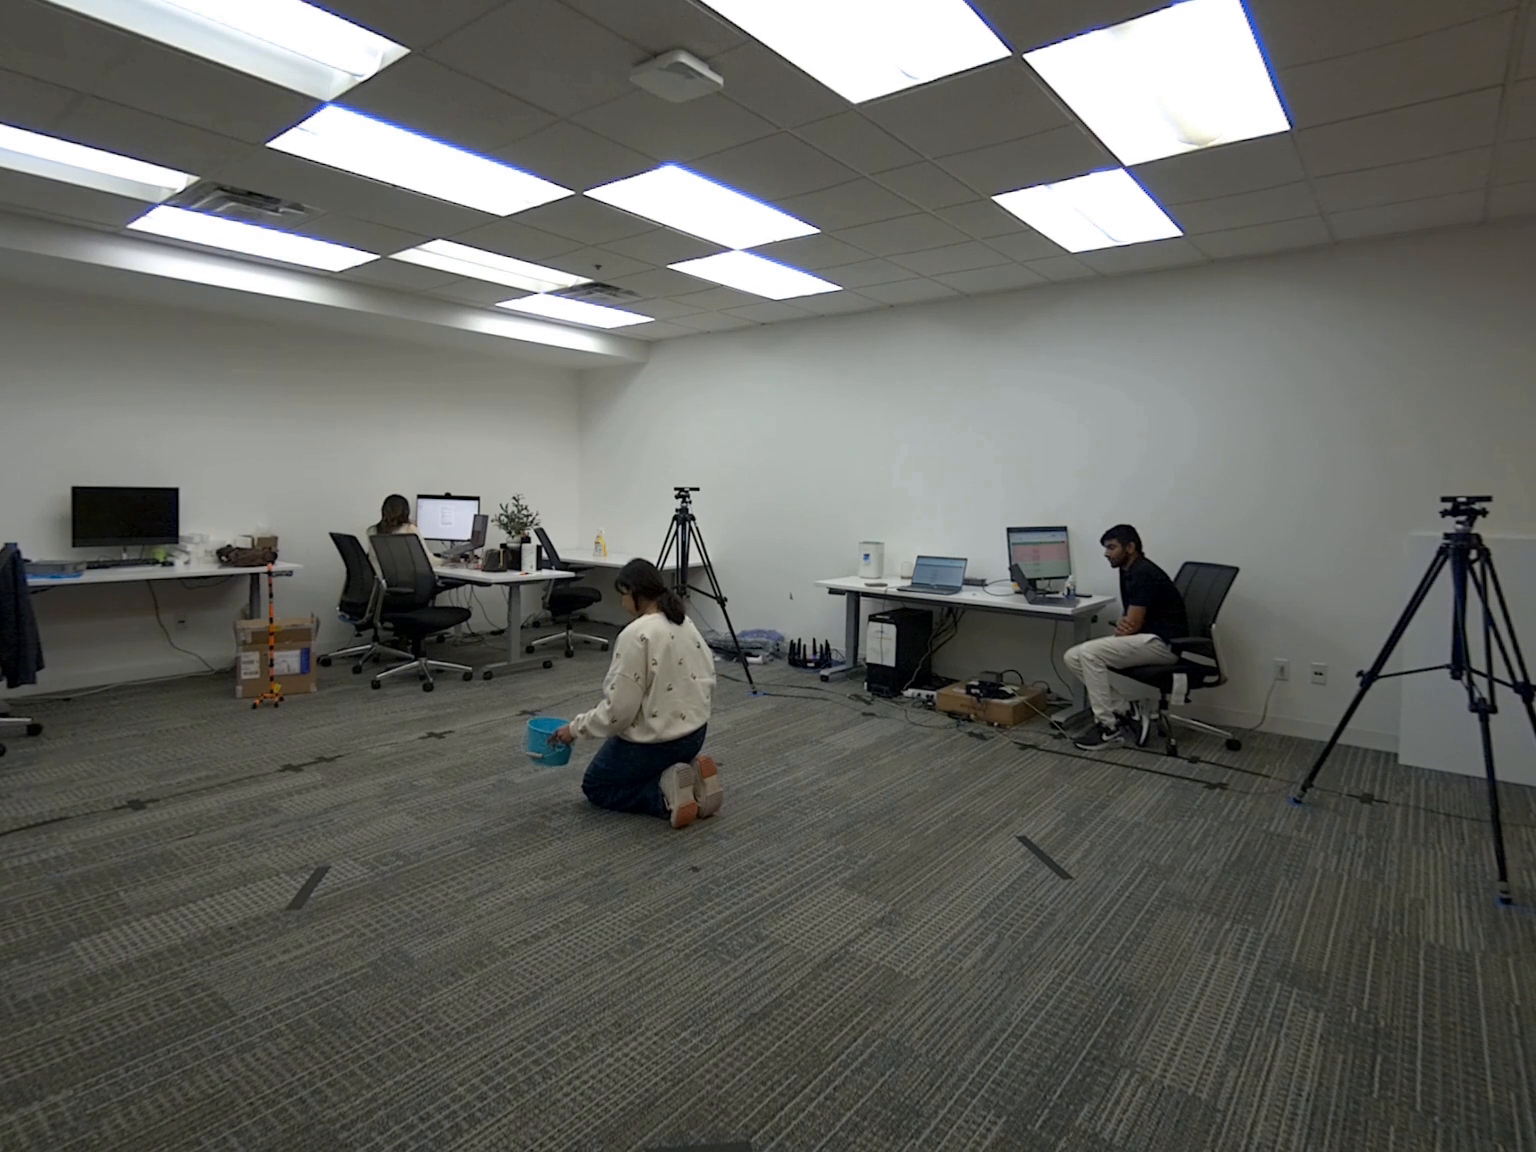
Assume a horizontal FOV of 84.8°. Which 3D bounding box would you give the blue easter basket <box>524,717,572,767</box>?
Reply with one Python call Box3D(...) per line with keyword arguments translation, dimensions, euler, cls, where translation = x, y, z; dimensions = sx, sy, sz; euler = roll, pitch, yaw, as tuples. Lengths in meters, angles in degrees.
Box3D(translation=(-0.965, 0.718, 3.713), dimensions=(0.243, 0.155, 0.244), euler=(10, 3, -2), cls="blue easter basket")
